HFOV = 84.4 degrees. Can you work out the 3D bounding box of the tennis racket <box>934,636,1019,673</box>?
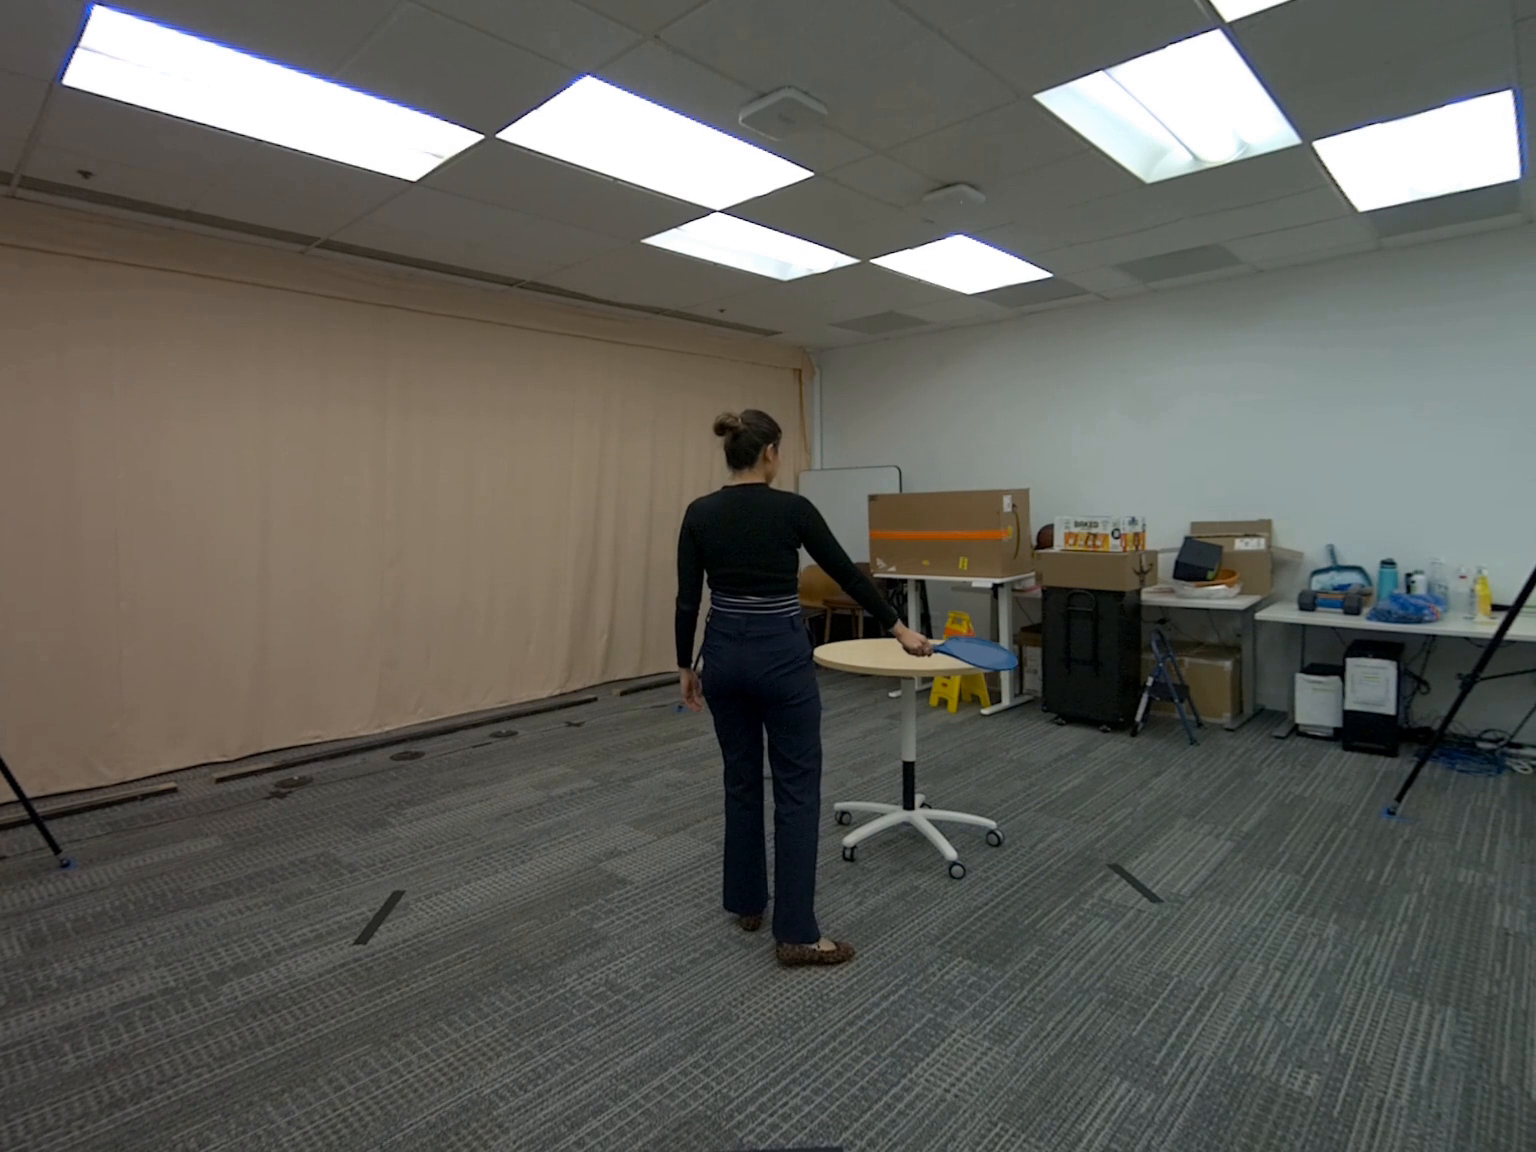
[{"bbox_3d":[0.702,0.271,2.879,0.423,0.031,0.220,2,26,-22],"label":"tennis racket"}]
